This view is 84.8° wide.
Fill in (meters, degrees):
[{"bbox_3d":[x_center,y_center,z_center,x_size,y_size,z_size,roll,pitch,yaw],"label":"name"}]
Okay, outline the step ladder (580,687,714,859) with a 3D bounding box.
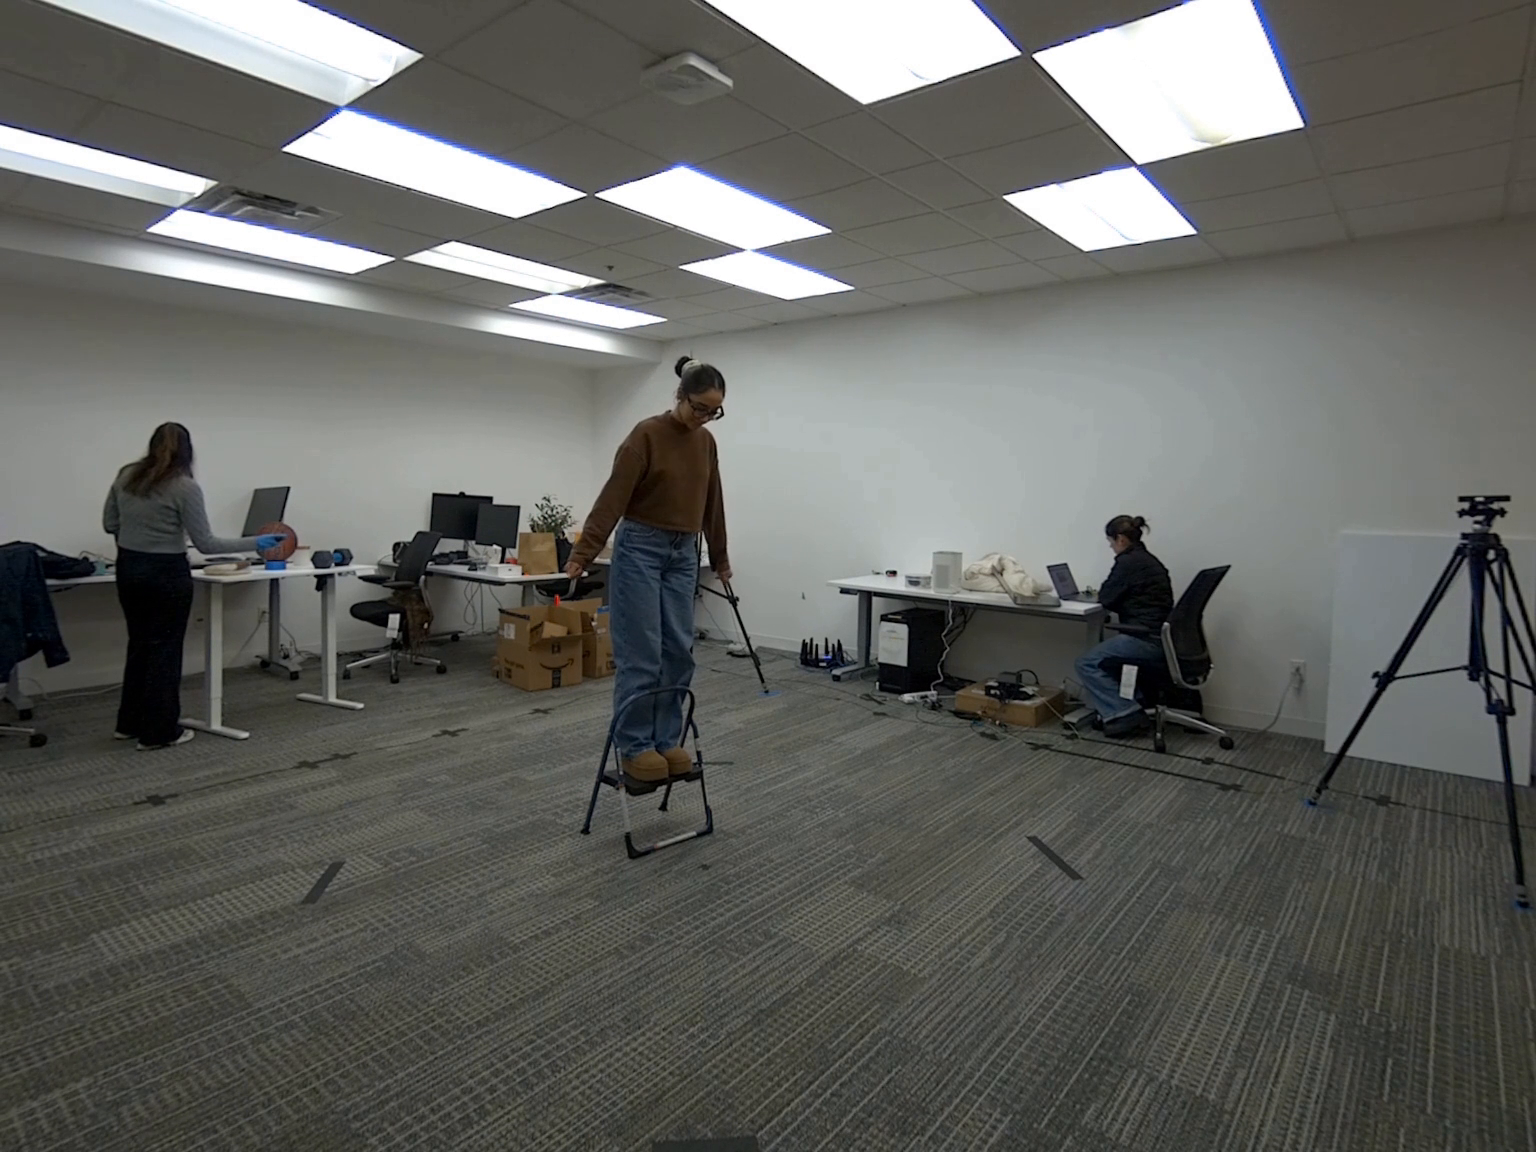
[{"bbox_3d":[-0.488,0.731,3.412,0.417,0.604,0.361,-3,5,-44],"label":"step ladder"}]
